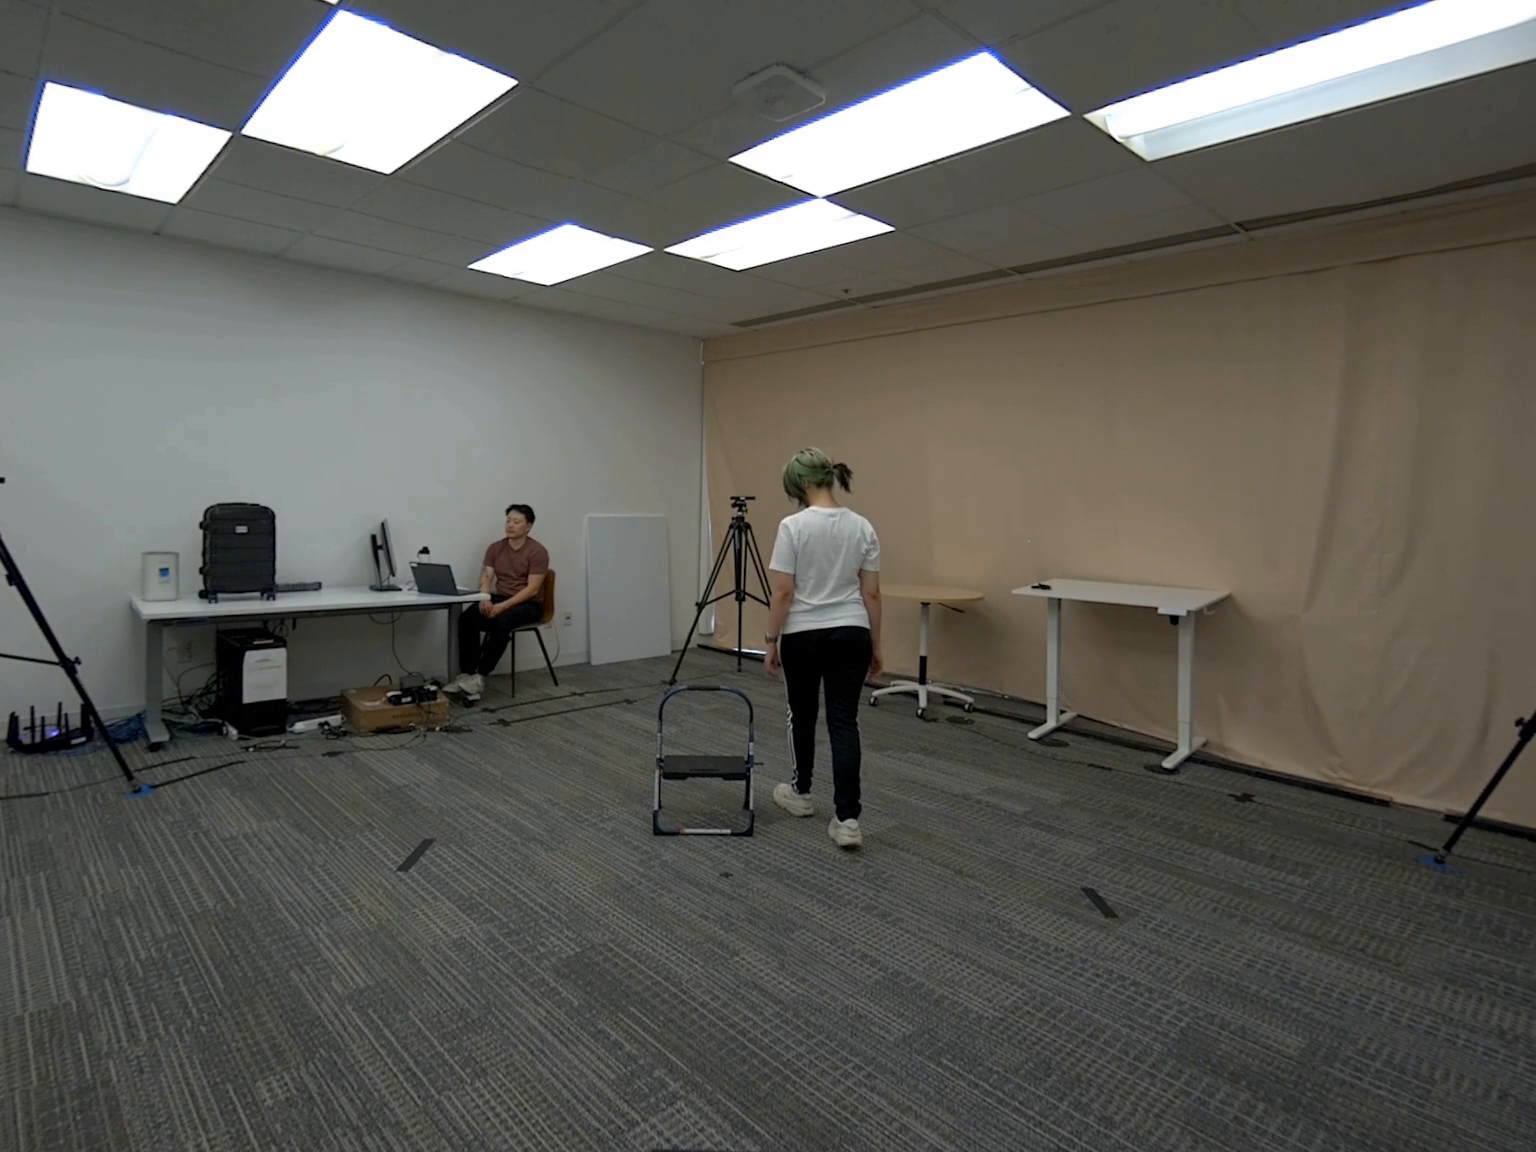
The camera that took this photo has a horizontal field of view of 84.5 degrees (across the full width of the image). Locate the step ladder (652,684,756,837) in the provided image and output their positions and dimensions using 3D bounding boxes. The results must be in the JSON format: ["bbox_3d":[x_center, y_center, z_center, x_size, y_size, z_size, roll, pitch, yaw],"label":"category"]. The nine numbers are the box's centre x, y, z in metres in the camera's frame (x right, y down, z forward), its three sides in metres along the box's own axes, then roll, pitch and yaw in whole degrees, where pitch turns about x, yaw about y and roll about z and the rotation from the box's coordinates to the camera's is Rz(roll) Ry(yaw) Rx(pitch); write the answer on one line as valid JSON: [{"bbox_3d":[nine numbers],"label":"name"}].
[{"bbox_3d":[-0.280,0.755,3.615,0.429,0.605,0.351,1,3,-5],"label":"step ladder"}]
